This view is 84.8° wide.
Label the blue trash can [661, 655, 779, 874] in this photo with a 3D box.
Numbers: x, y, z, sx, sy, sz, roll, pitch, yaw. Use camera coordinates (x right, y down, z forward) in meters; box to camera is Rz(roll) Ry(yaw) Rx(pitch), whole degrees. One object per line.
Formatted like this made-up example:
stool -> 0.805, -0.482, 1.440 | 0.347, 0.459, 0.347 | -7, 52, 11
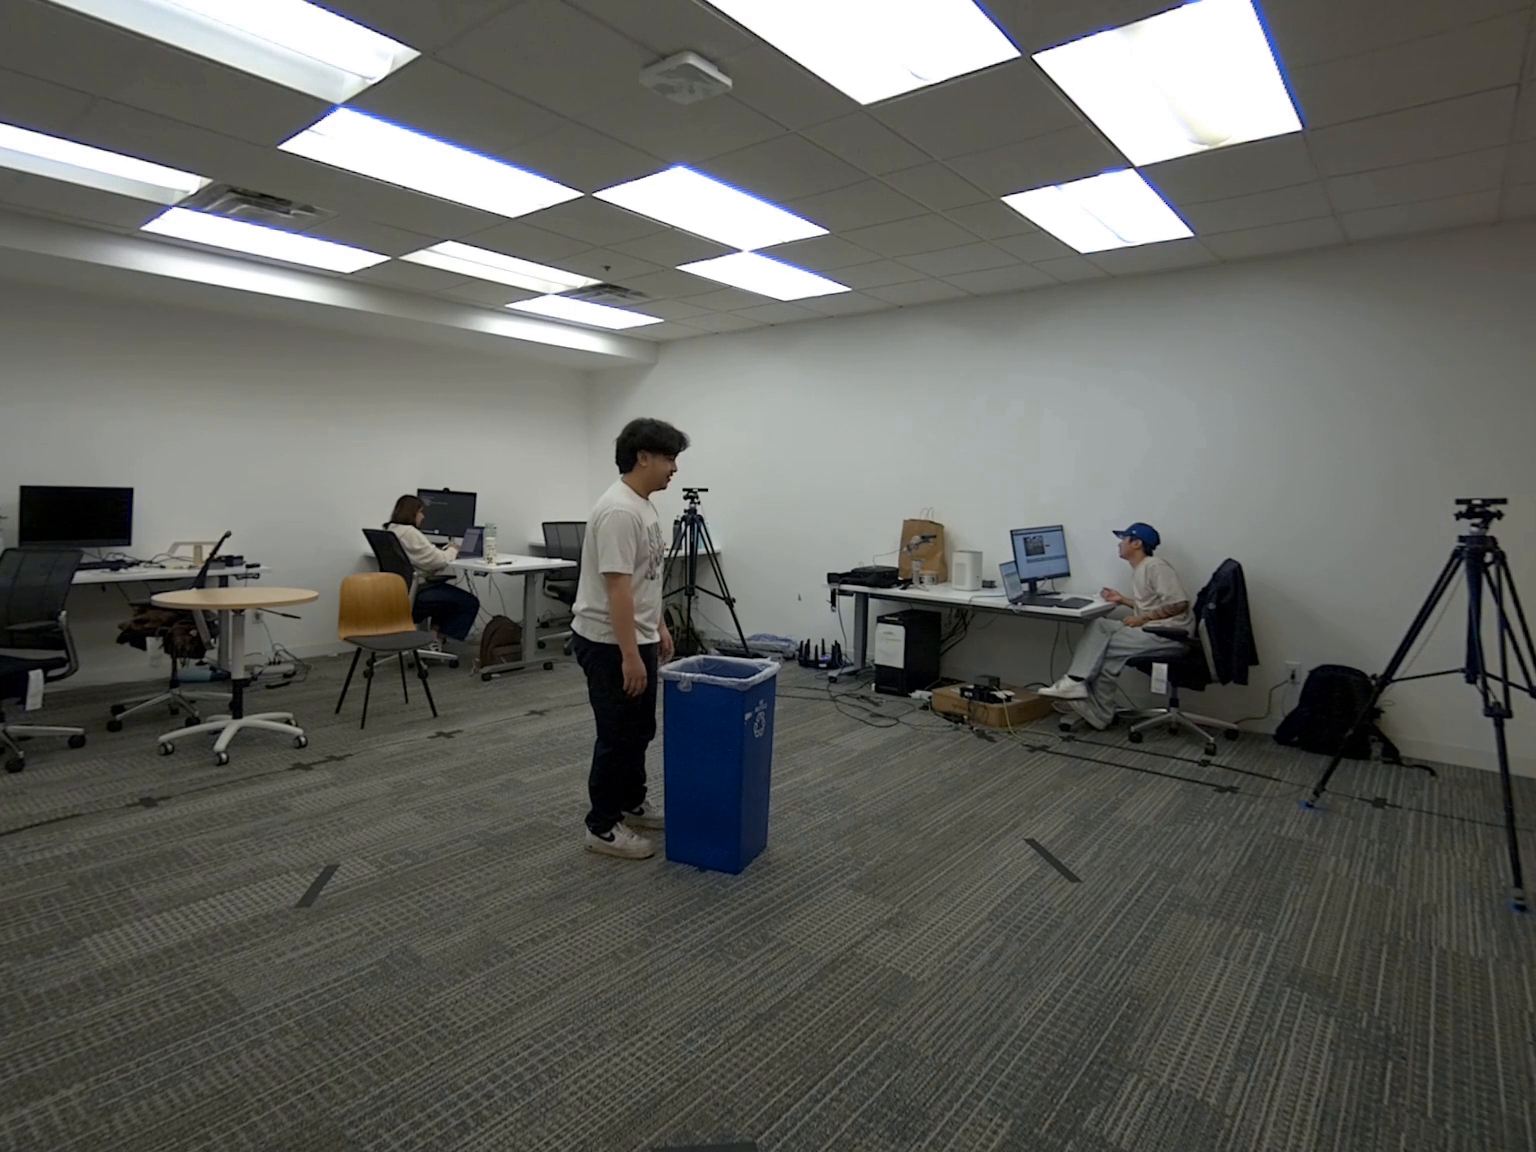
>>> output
blue trash can -> -0.200, 0.695, 3.247 | 0.387, 0.711, 0.366 | 3, 4, 22
